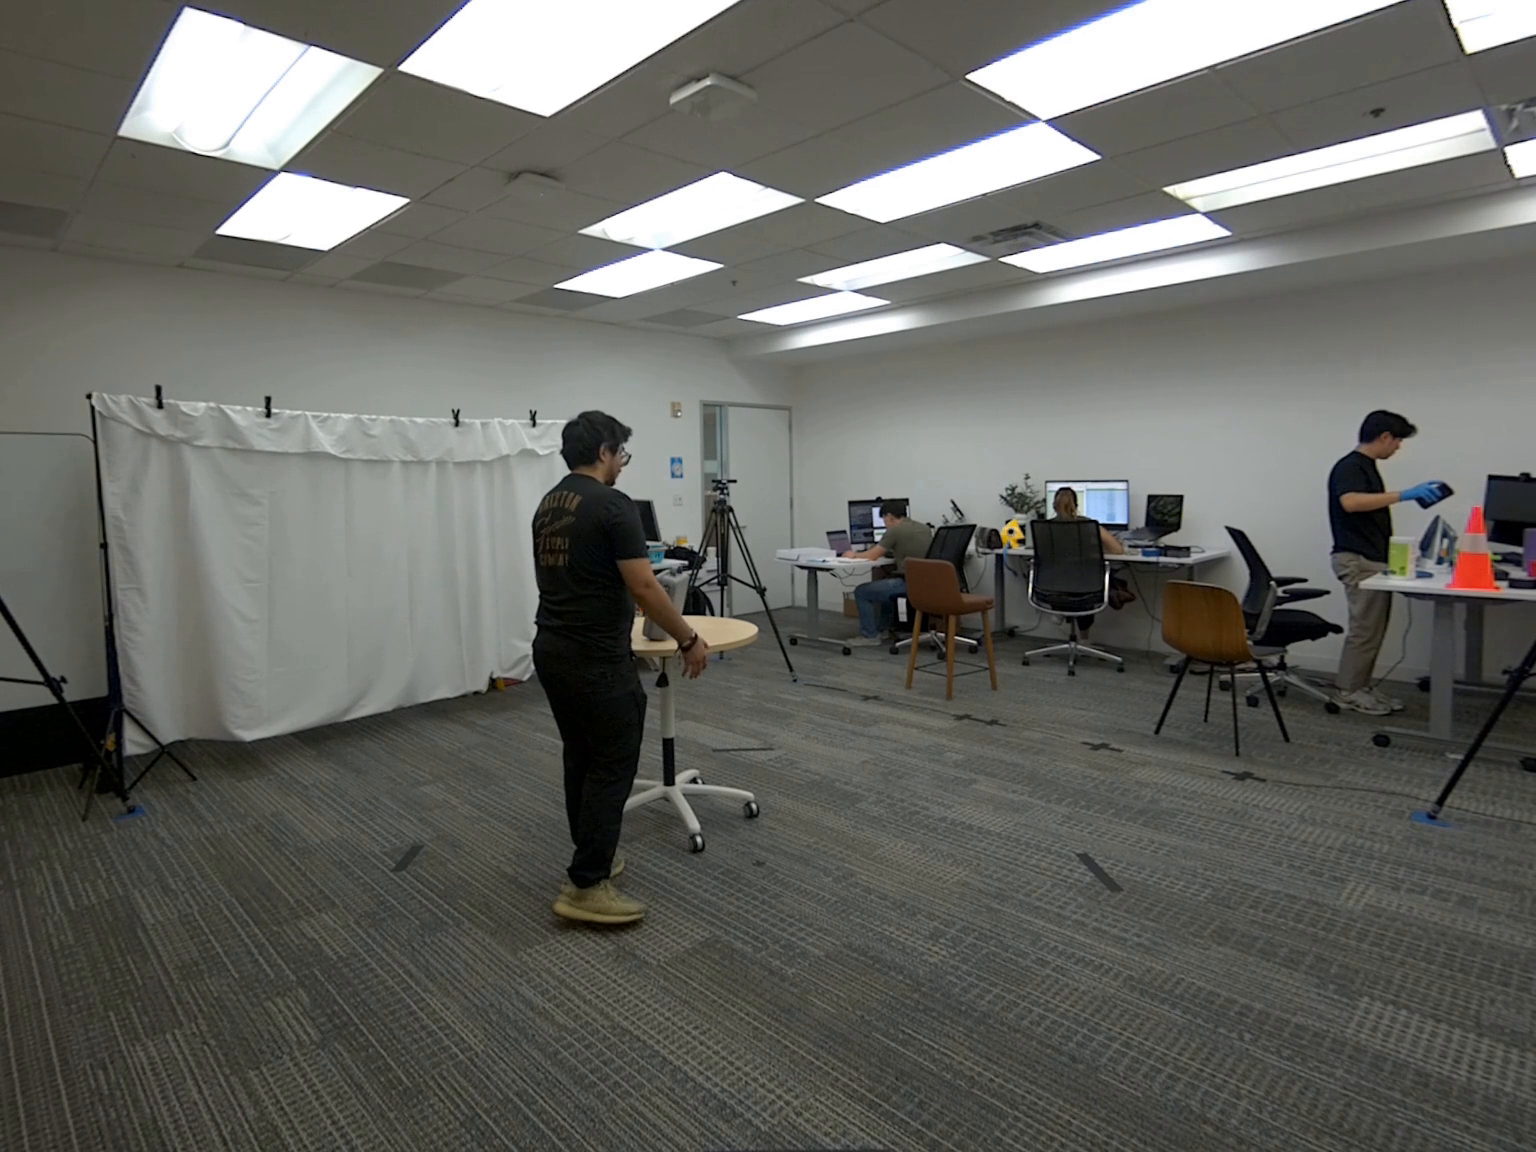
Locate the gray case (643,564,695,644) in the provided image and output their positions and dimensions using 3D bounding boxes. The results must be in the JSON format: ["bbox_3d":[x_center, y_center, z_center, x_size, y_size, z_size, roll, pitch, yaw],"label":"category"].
[{"bbox_3d":[-0.392,0.105,3.394,0.105,0.259,0.256,10,7,6],"label":"gray case"}]
